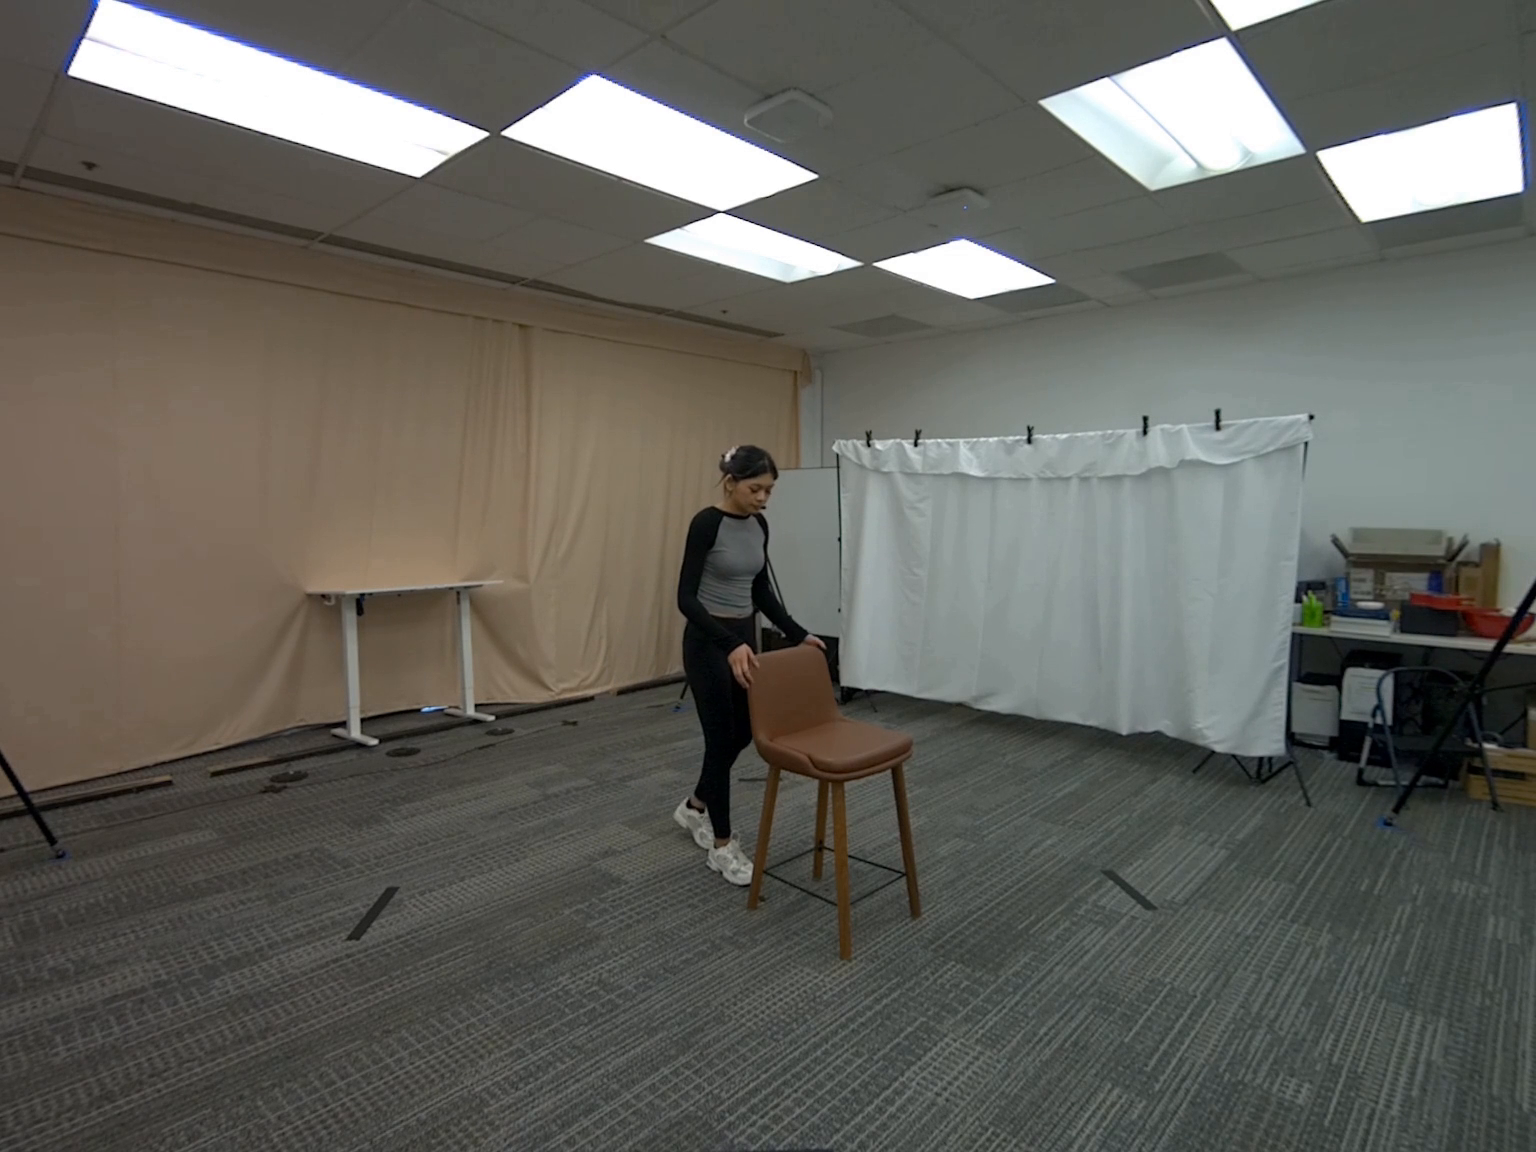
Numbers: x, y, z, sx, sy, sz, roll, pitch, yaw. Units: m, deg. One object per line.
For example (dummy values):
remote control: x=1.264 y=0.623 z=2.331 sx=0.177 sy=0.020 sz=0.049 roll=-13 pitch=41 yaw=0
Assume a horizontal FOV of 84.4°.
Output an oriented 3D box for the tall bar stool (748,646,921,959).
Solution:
tall bar stool: x=0.219 y=0.717 z=2.857 sx=0.442 sy=0.888 sz=0.483 roll=-3 pitch=3 yaw=-44
